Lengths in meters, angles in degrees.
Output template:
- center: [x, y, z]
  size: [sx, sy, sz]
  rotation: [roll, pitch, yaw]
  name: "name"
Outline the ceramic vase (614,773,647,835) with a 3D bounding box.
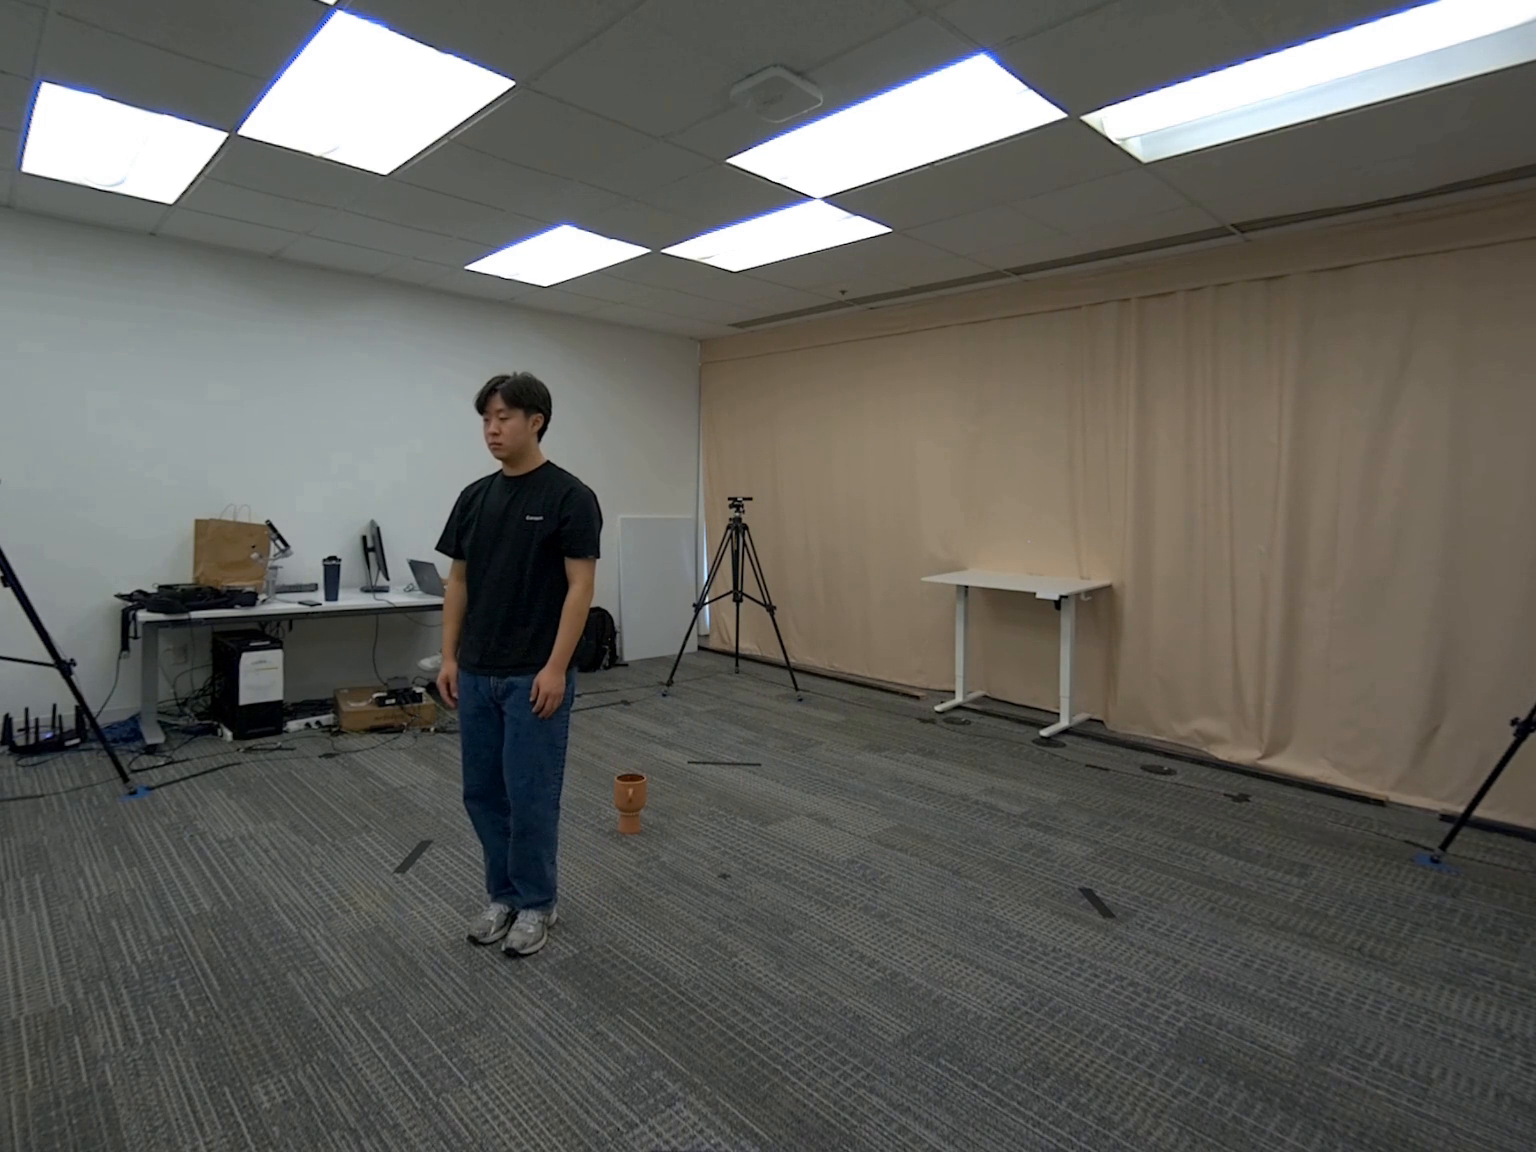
- center: [-0.588, 0.948, 3.511]
  size: [0.138, 0.219, 0.156]
  rotation: [6, 6, 31]
  name: "ceramic vase"
